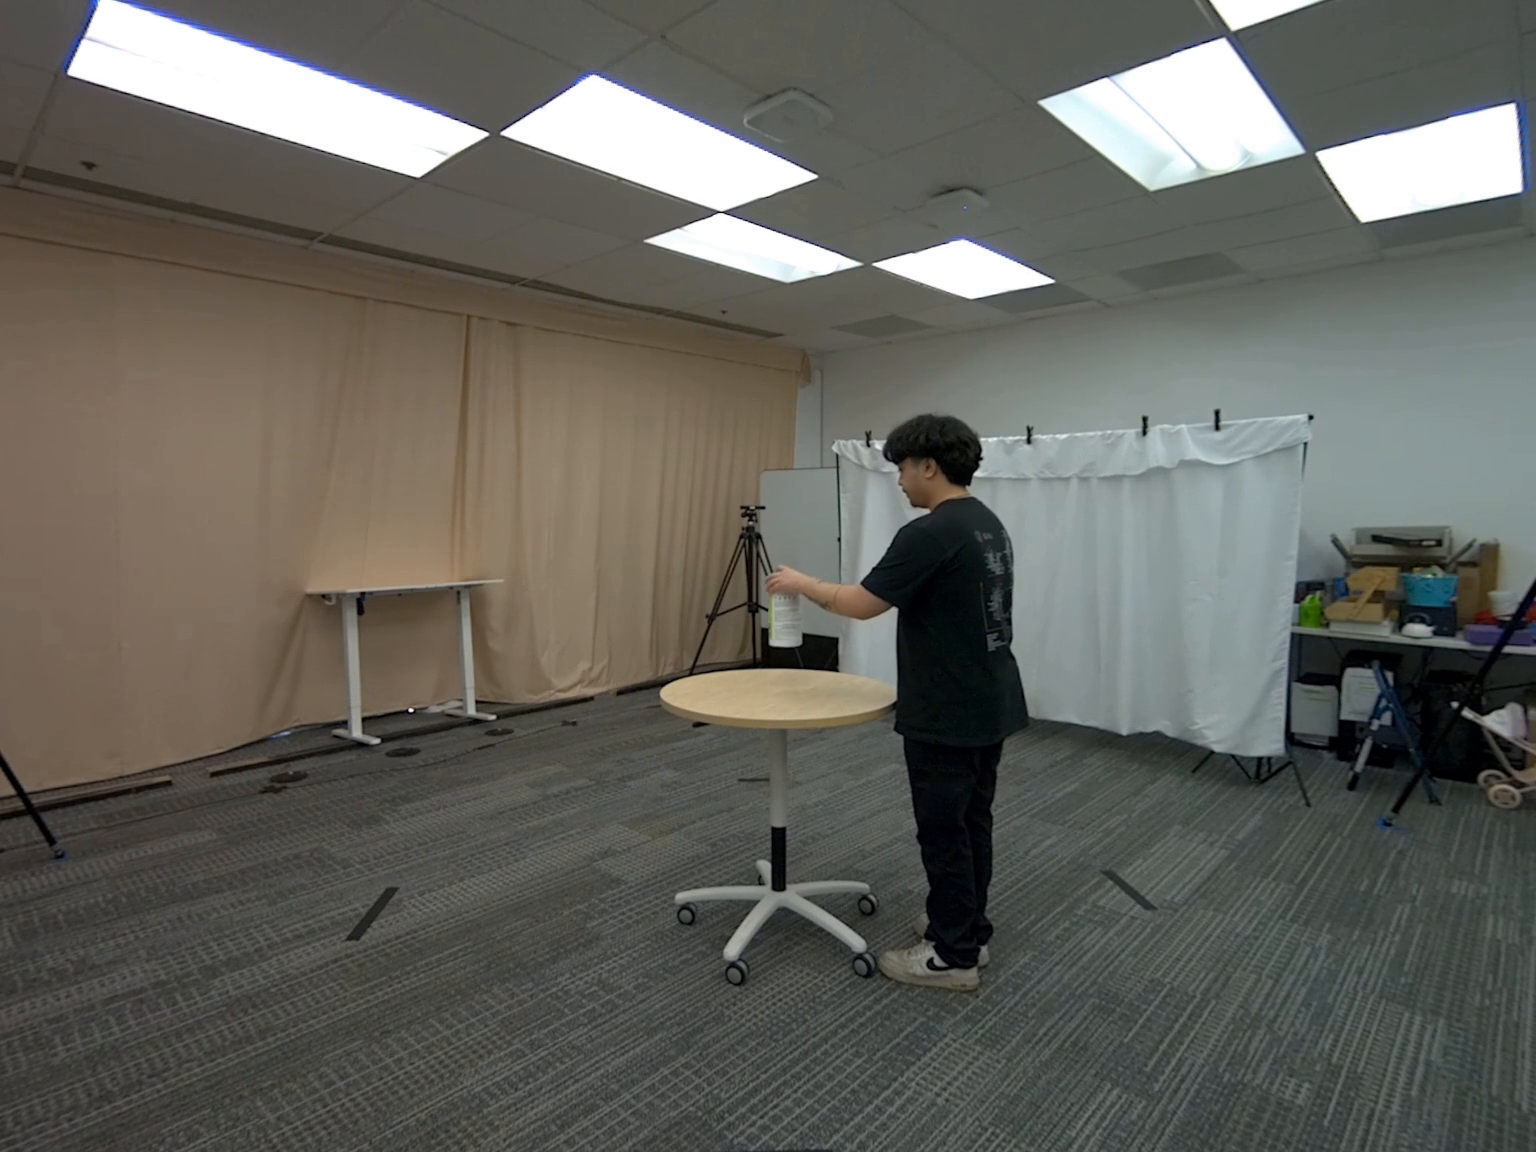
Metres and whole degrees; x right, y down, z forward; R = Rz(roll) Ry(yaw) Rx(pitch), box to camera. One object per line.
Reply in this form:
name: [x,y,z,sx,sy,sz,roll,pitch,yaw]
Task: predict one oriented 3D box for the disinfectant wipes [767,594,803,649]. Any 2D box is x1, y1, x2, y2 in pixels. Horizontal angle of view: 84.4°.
disinfectant wipes: [0.059,0.119,2.737,0.117,0.217,0.118,1,4,-2]
